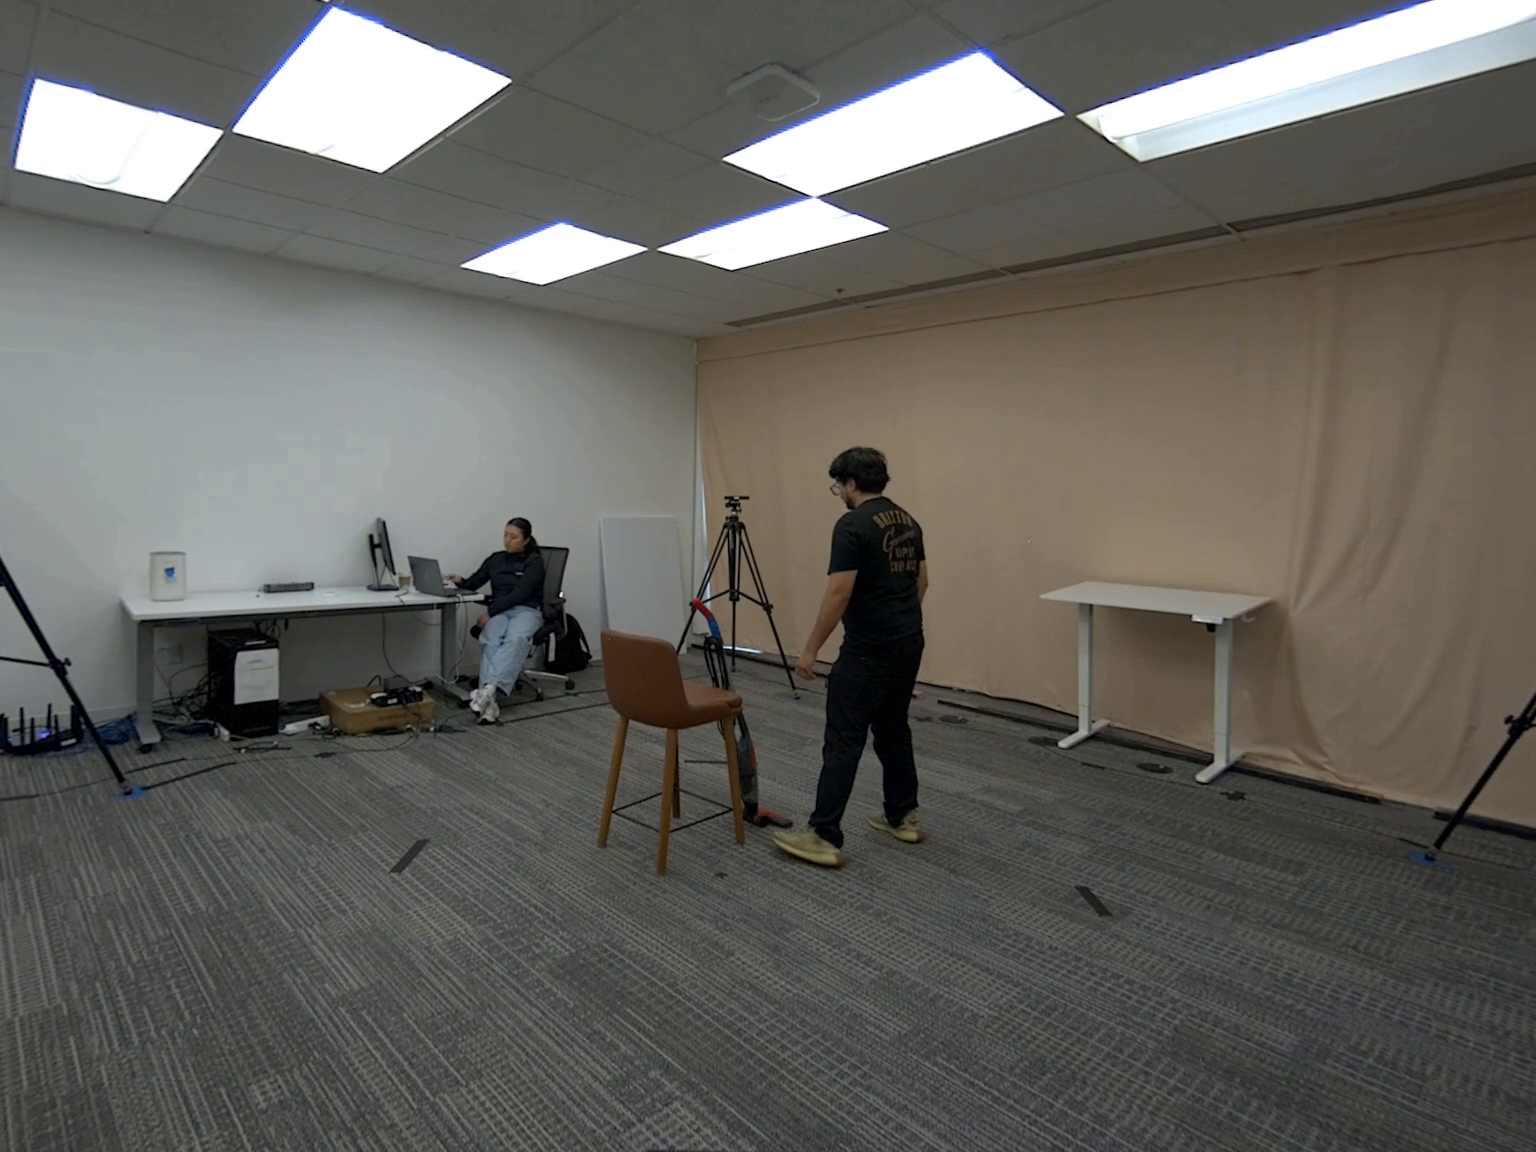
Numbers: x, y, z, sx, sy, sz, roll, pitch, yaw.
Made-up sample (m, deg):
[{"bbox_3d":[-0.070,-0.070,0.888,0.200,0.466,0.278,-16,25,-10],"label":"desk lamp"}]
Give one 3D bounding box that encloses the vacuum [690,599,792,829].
[{"bbox_3d":[-0.154,0.582,3.512,0.259,1.033,0.142,4,26,46],"label":"vacuum"}]
